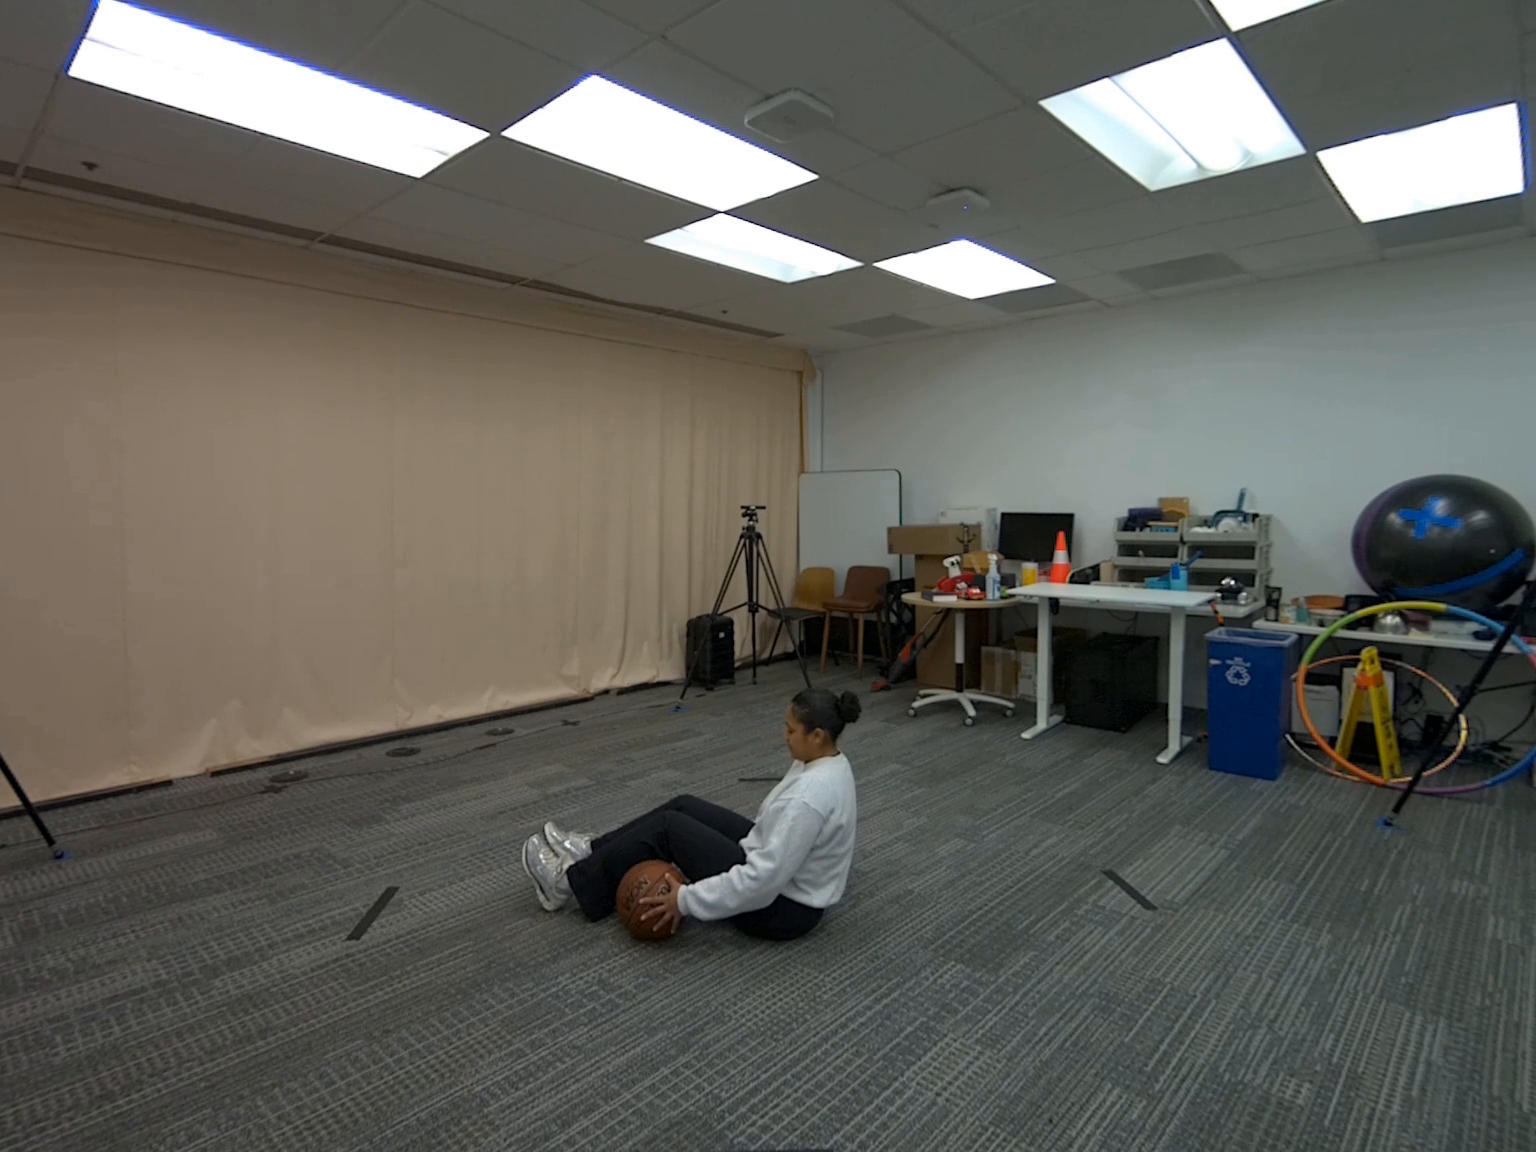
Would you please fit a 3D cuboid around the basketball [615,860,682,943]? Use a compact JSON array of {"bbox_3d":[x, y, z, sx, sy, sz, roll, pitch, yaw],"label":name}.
[{"bbox_3d":[-0.369,1.044,2.745,0.236,0.235,0.237,0,4,-2],"label":"basketball"}]
